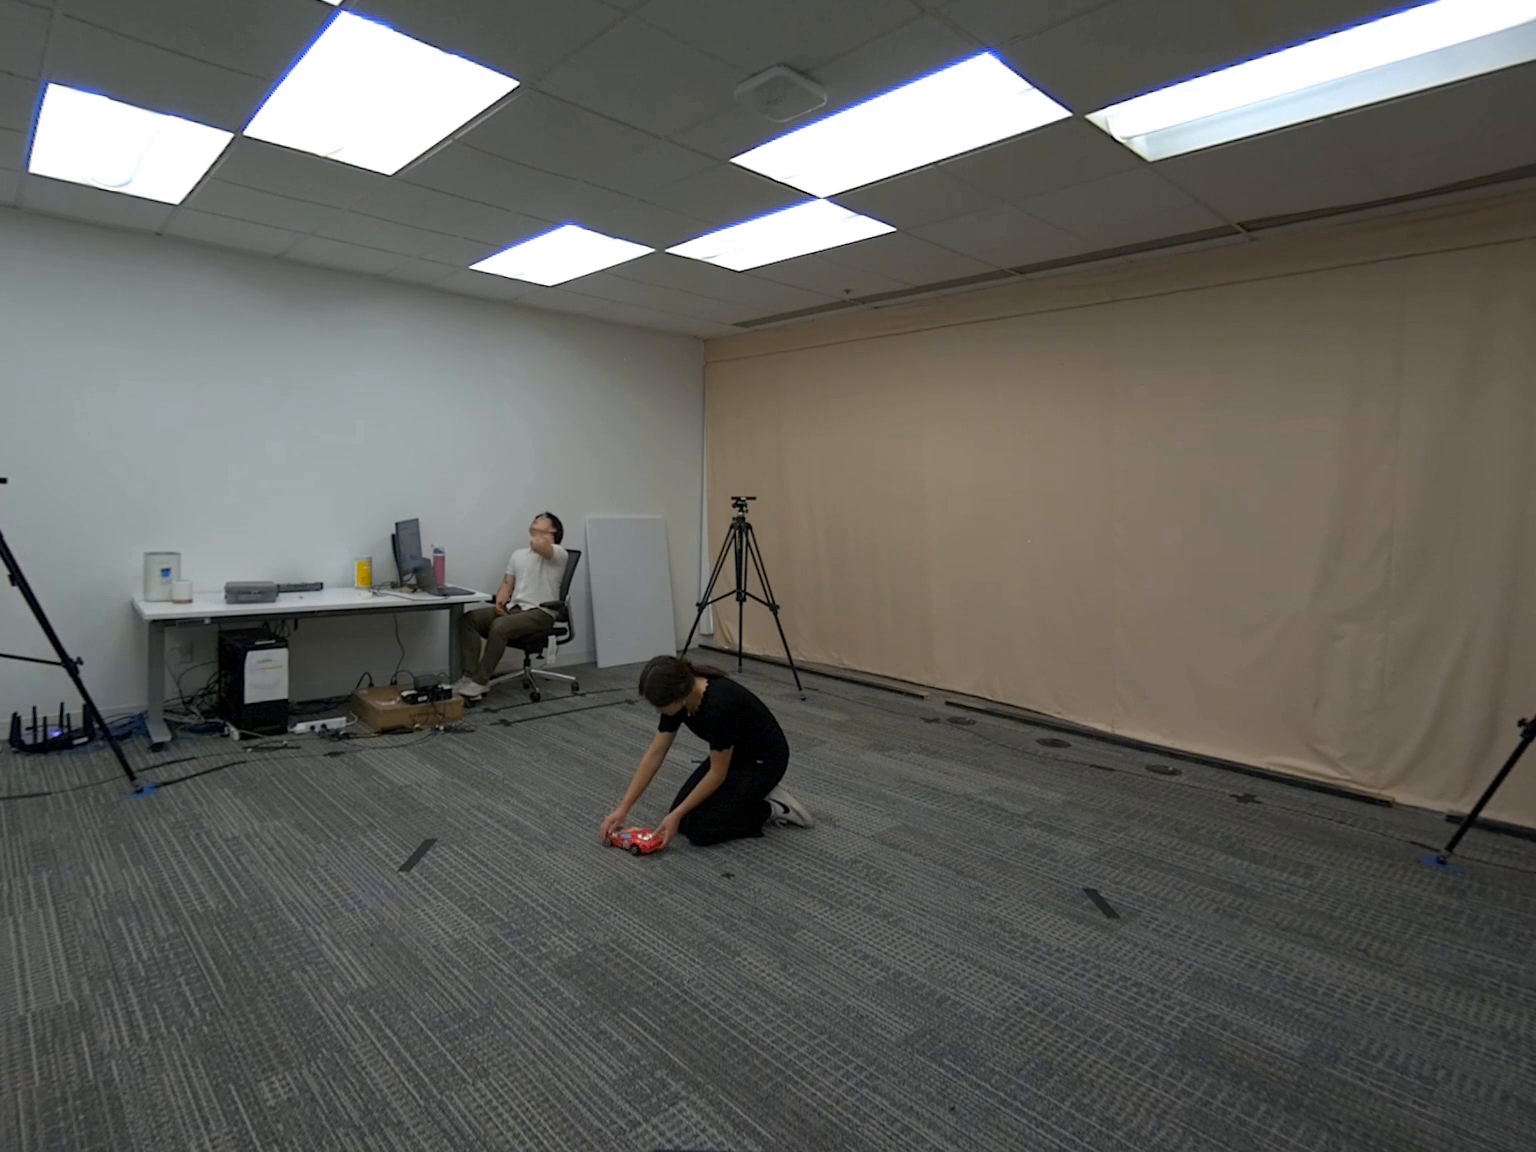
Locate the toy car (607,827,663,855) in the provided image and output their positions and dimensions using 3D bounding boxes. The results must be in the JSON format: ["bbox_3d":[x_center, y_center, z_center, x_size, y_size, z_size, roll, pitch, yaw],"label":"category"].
[{"bbox_3d":[-0.533,1.044,3.323,0.259,0.083,0.127,-10,-2,35],"label":"toy car"}]
